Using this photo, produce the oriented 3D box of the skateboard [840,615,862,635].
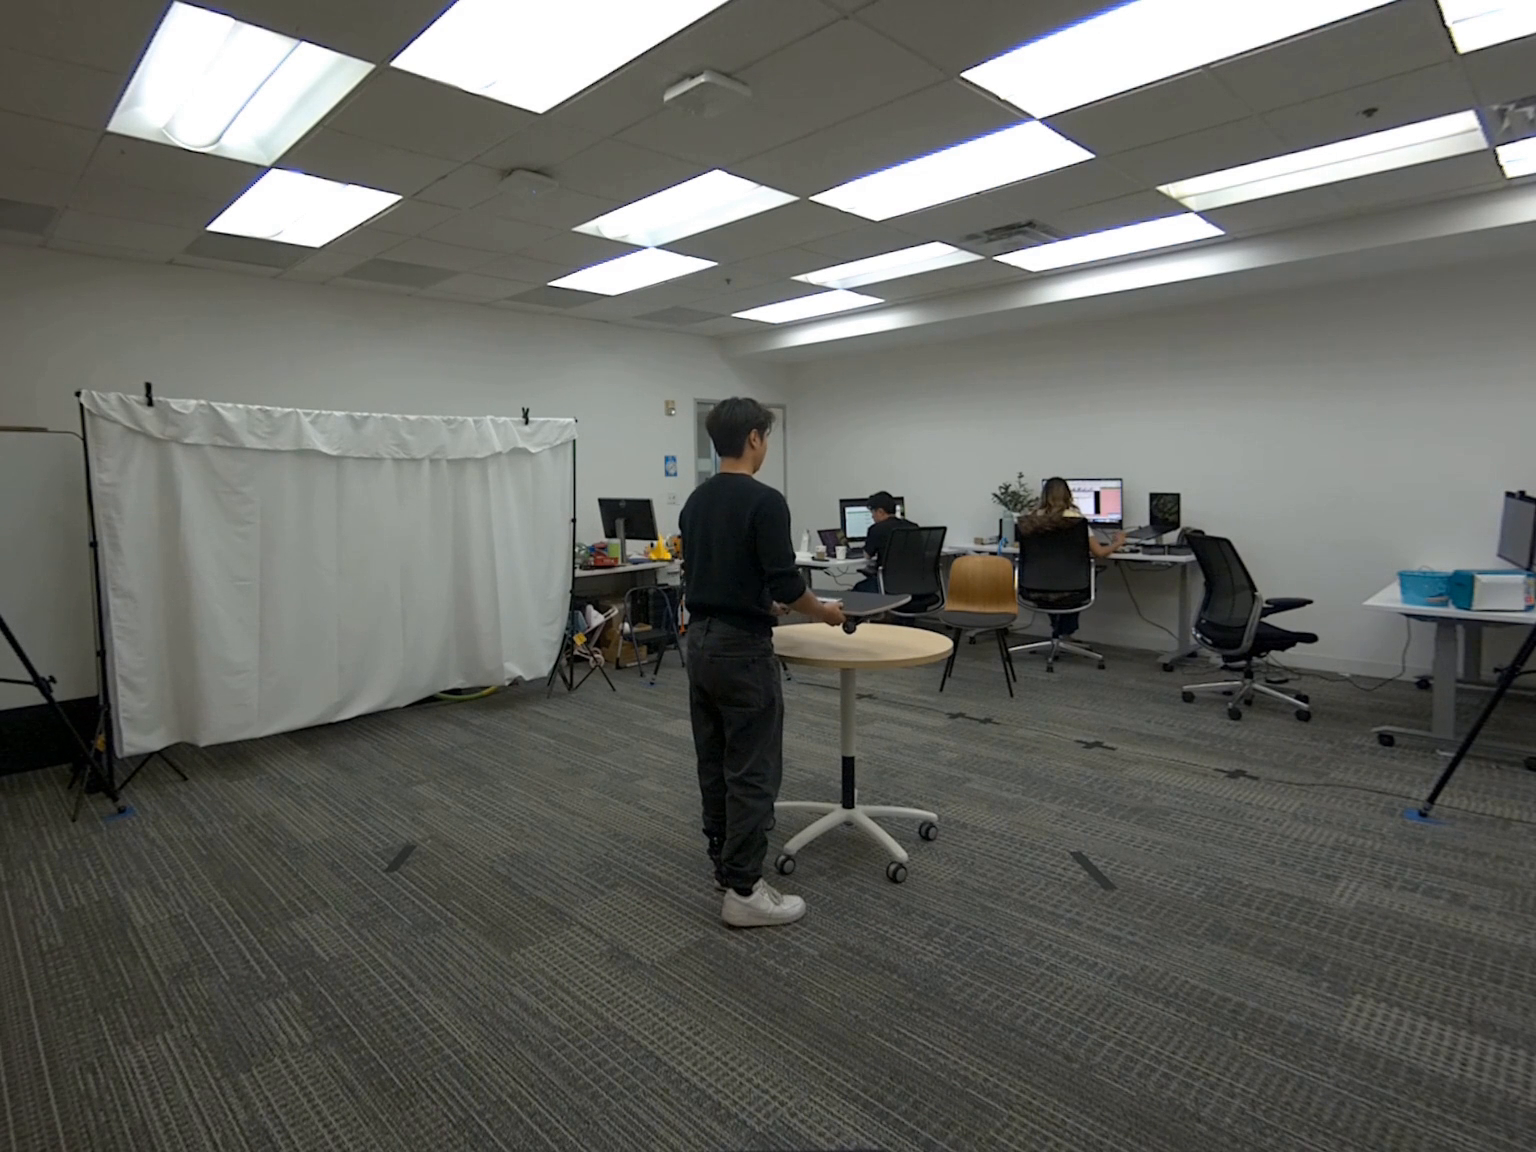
[{"bbox_3d":[0.189,0.126,3.103,0.190,0.109,0.809,-23,17,-38],"label":"skateboard"}]
